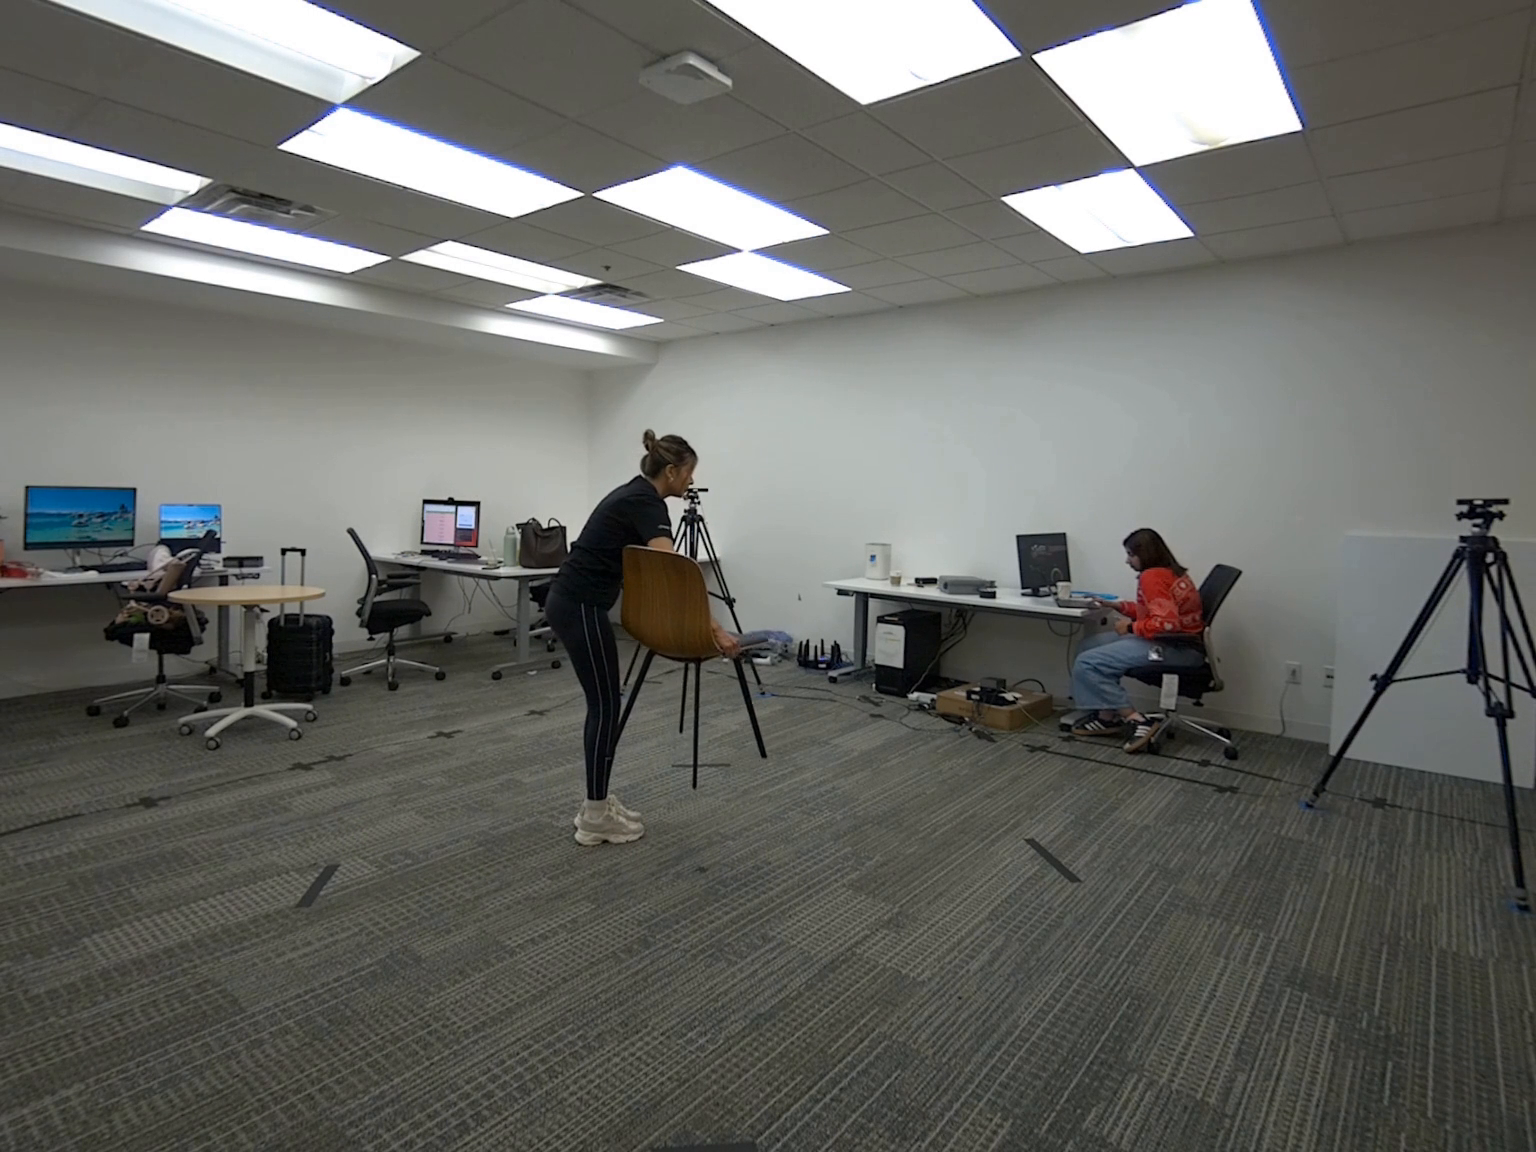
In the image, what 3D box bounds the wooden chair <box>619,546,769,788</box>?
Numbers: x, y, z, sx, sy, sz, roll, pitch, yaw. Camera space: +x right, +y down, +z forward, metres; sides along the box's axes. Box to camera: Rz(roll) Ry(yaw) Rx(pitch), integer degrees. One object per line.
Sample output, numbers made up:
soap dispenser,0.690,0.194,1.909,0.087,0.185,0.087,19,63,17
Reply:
wooden chair,-0.295,0.296,3.301,0.494,0.870,0.510,6,10,35
